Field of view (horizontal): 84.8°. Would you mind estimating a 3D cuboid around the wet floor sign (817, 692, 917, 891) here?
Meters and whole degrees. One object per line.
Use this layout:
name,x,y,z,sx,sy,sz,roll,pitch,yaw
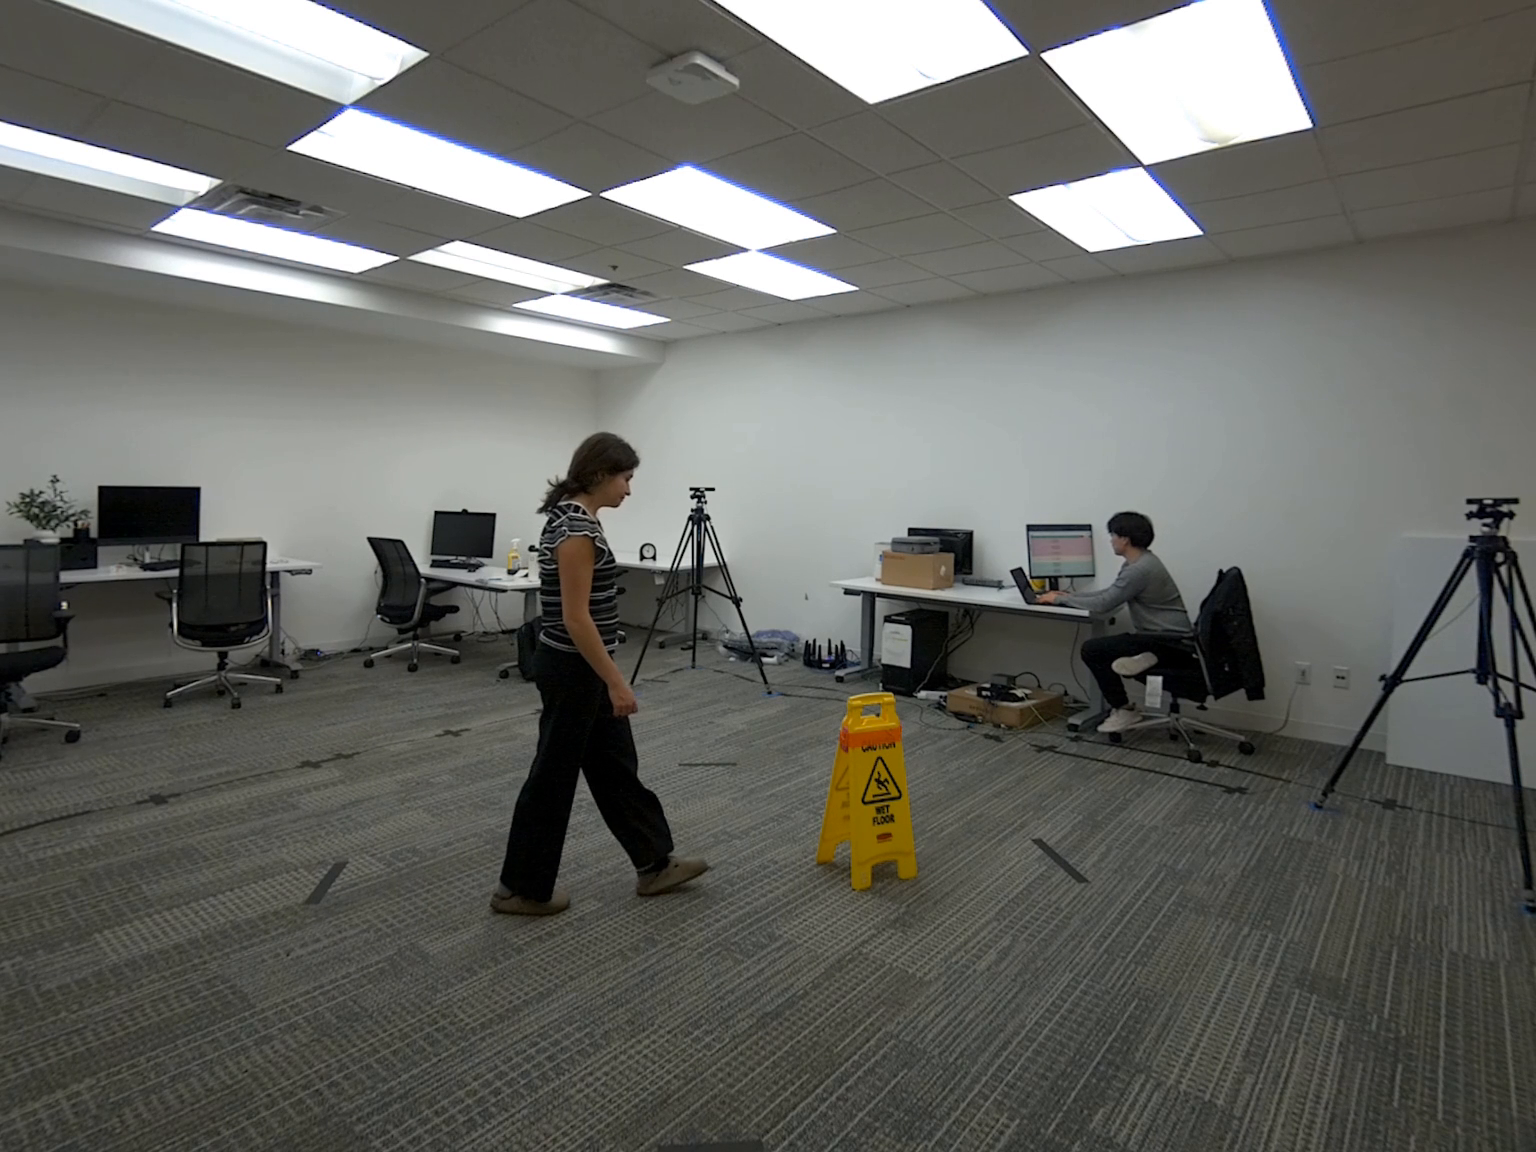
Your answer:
wet floor sign,0.363,0.755,3.113,0.275,0.644,0.298,0,3,-28
